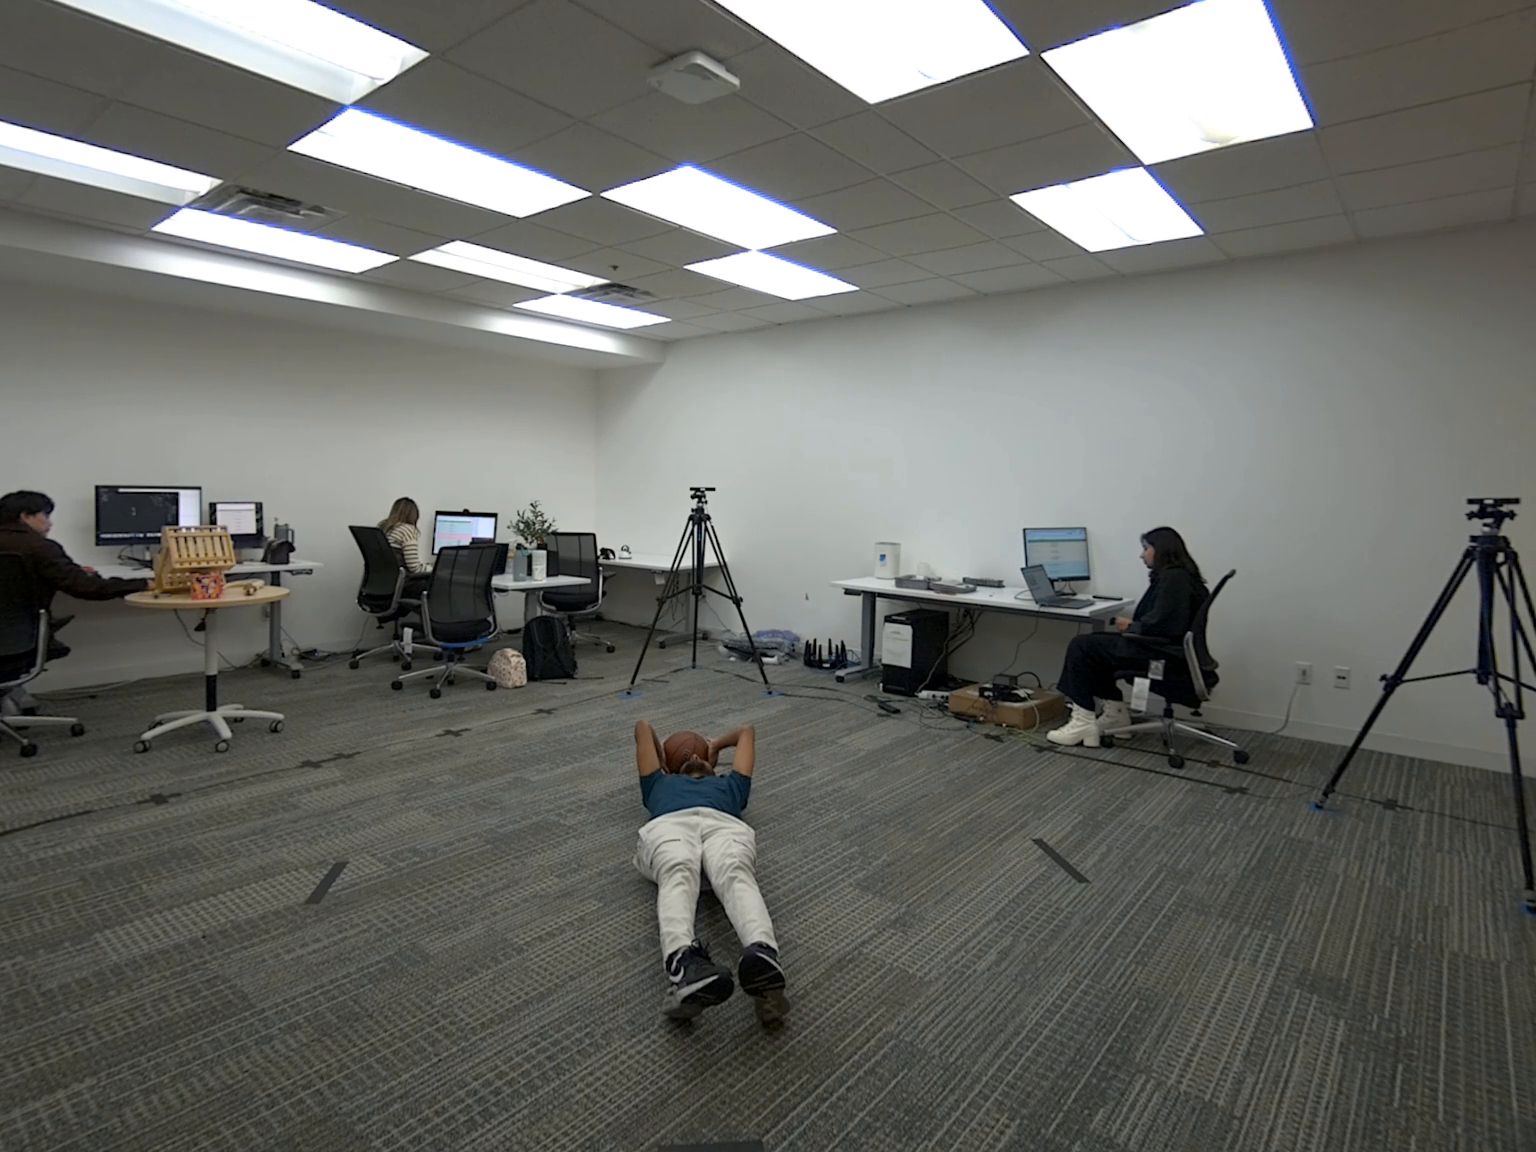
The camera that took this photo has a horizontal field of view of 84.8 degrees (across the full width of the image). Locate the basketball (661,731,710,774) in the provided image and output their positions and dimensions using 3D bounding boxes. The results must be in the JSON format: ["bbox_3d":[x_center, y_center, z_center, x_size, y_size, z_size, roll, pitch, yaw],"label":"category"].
[{"bbox_3d":[-0.409,0.851,4.036,0.235,0.235,0.237,1,4,-2],"label":"basketball"}]
